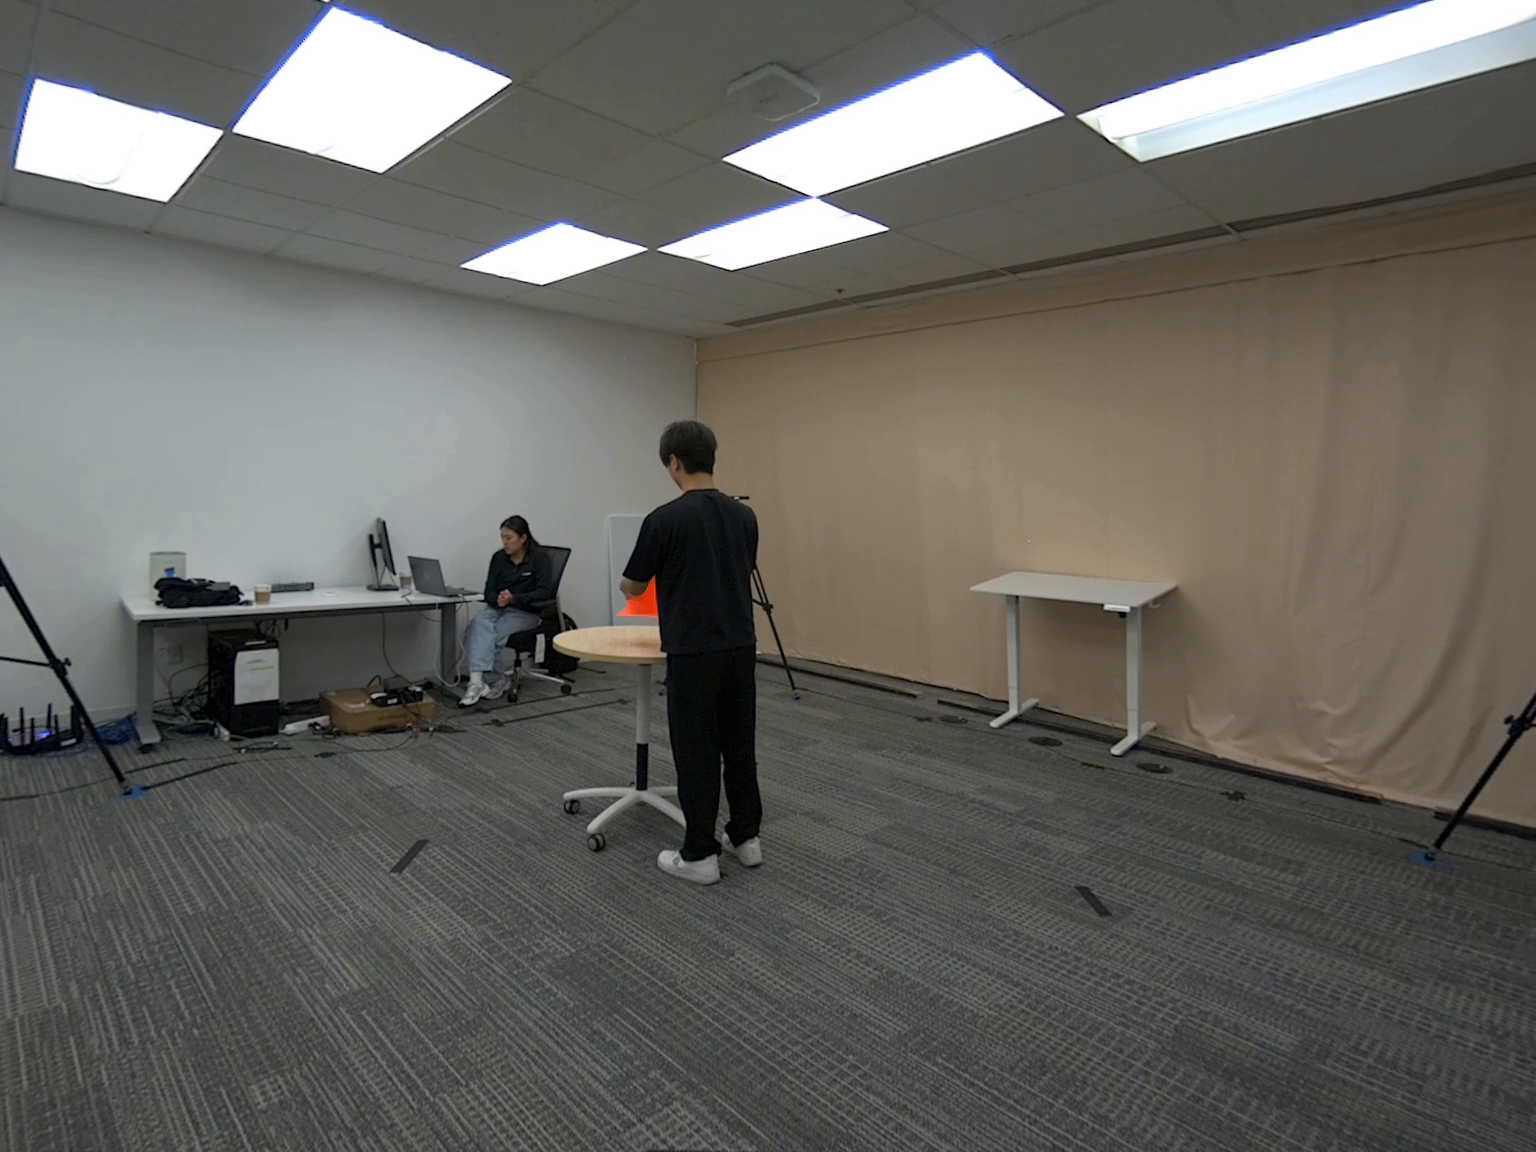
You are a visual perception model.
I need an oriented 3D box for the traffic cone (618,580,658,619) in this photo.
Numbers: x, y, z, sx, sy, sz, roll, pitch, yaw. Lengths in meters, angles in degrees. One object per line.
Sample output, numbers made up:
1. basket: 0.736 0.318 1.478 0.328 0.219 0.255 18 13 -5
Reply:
1. traffic cone: -0.516 -0.034 3.459 0.198 0.384 0.210 4 -1 -43
